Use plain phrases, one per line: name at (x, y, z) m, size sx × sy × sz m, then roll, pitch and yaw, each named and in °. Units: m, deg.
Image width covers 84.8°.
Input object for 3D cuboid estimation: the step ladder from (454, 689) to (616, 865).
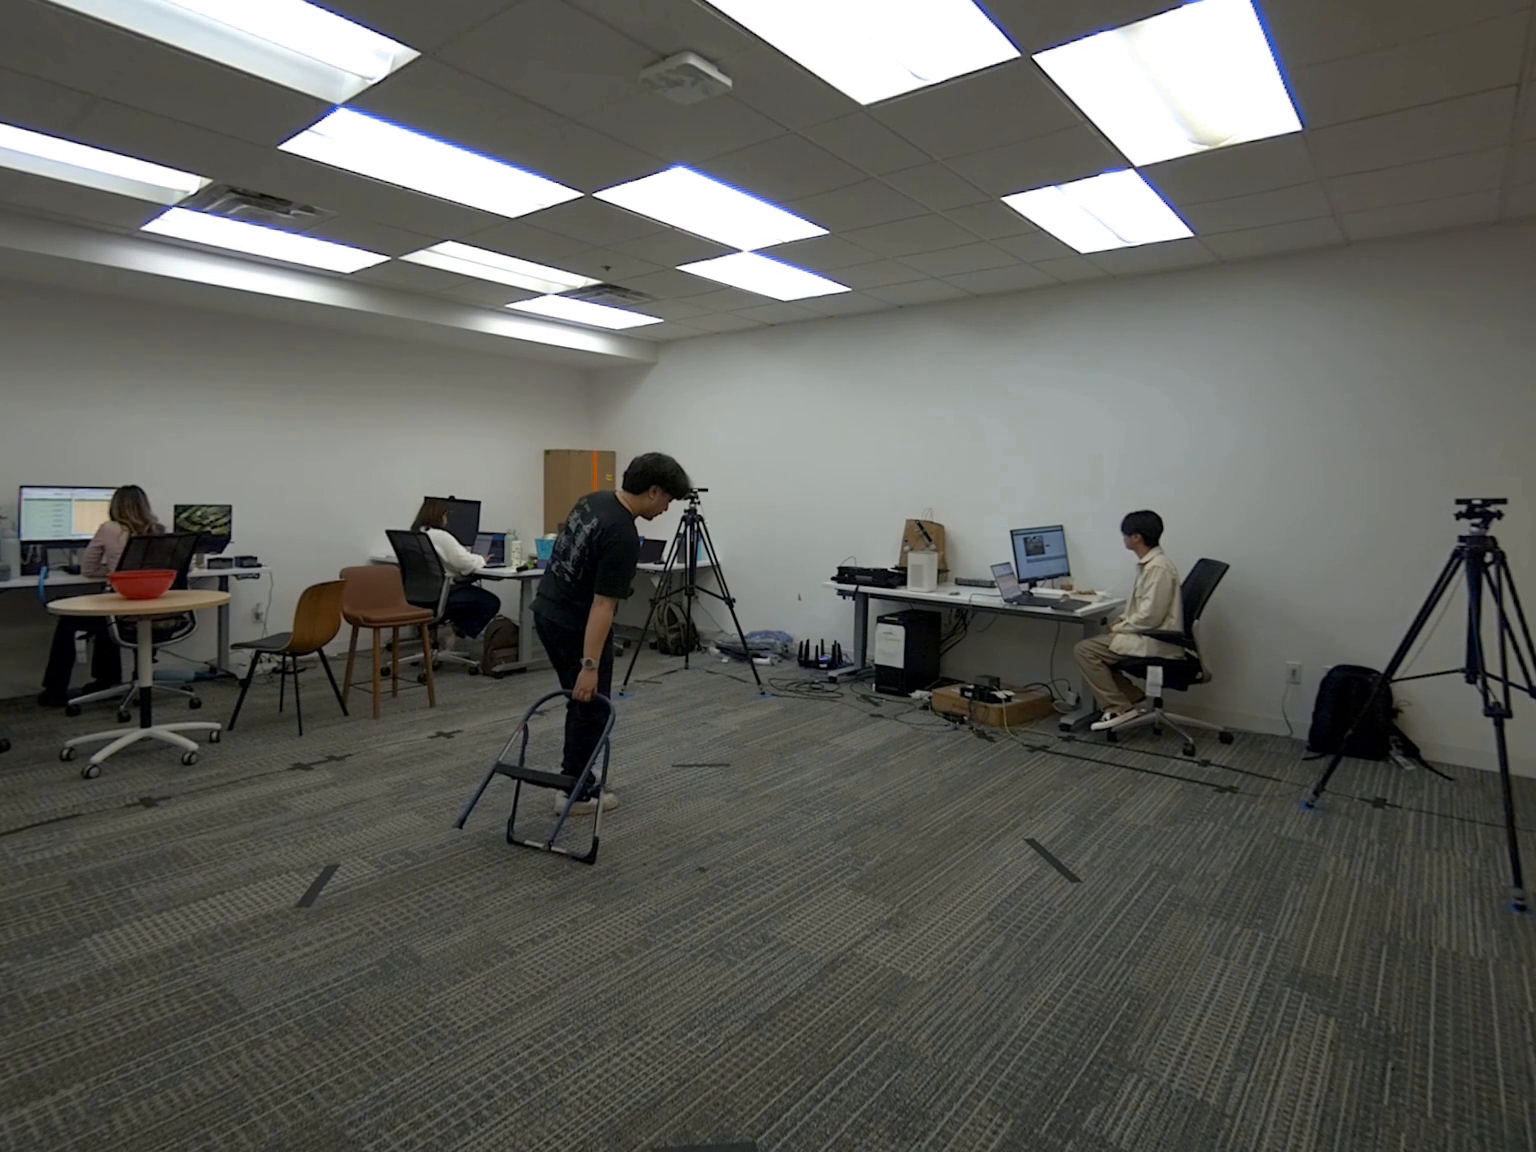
step ladder at (-0.835, 0.711, 3.211) m, size 0.442 × 0.615 × 0.335 m, roll 3°, pitch -25°, yaw 25°
